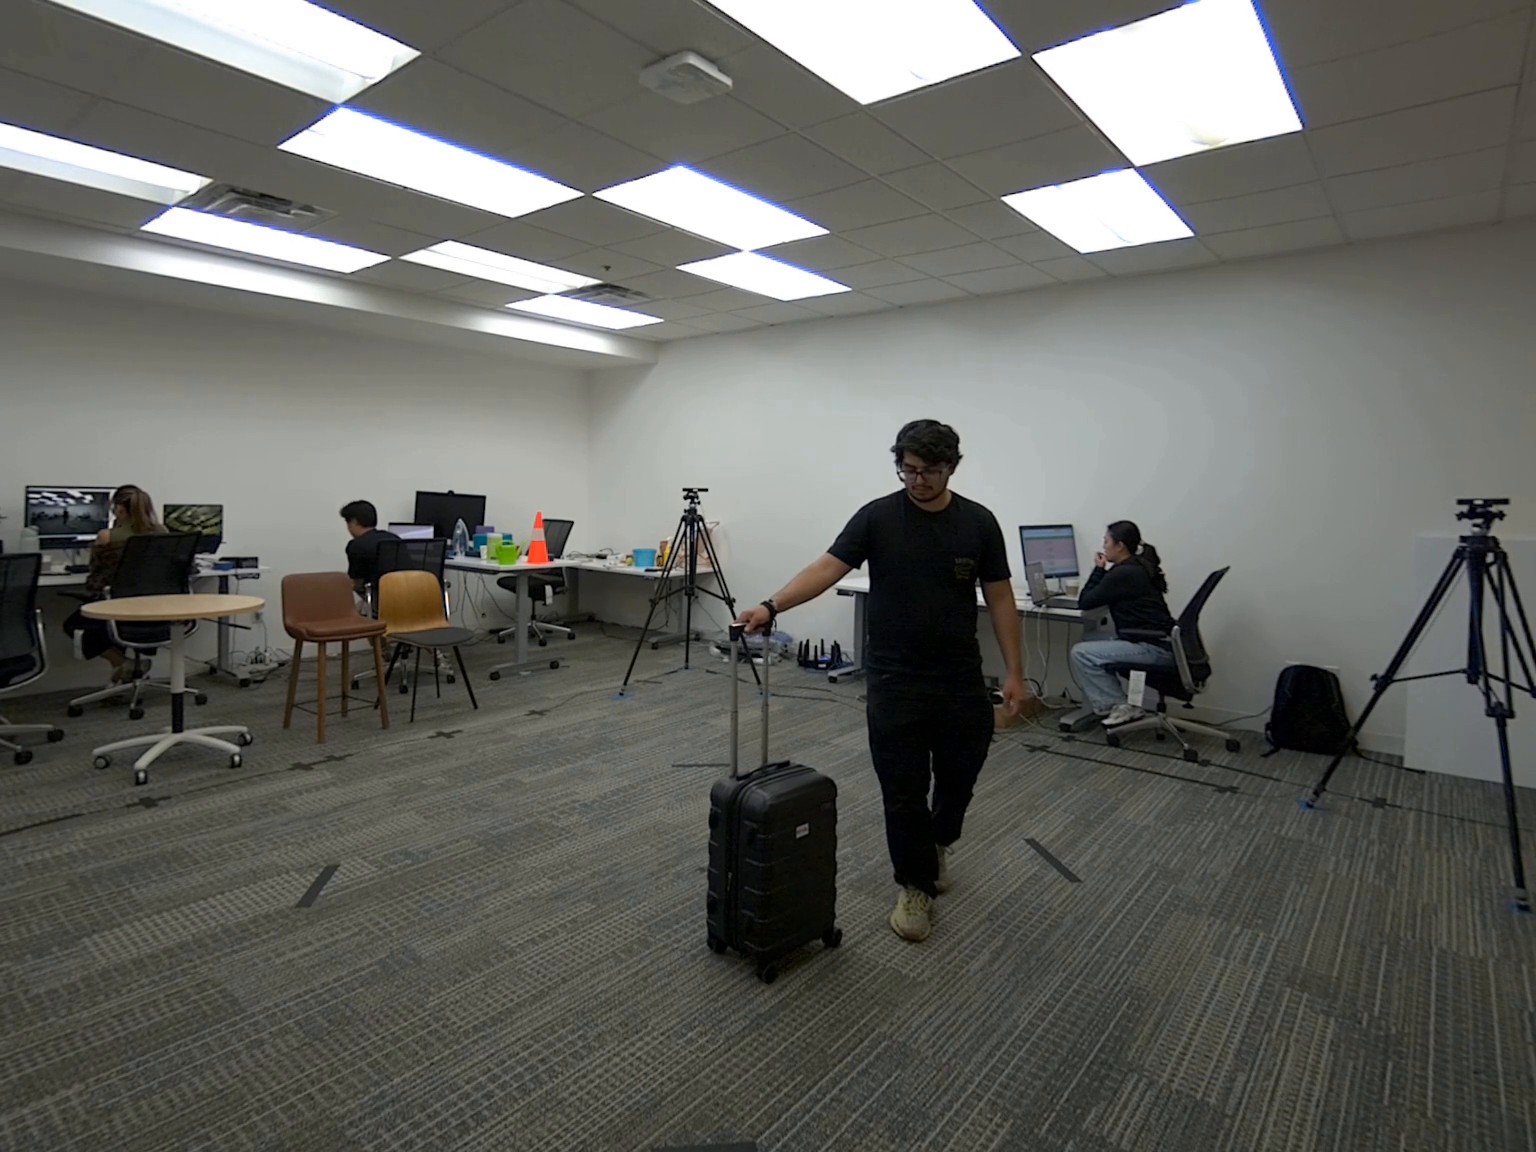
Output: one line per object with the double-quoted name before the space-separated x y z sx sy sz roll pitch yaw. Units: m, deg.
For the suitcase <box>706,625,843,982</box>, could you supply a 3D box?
"suitcase" 0.012 0.655 2.534 0.373 0.973 0.266 -6 8 -42
